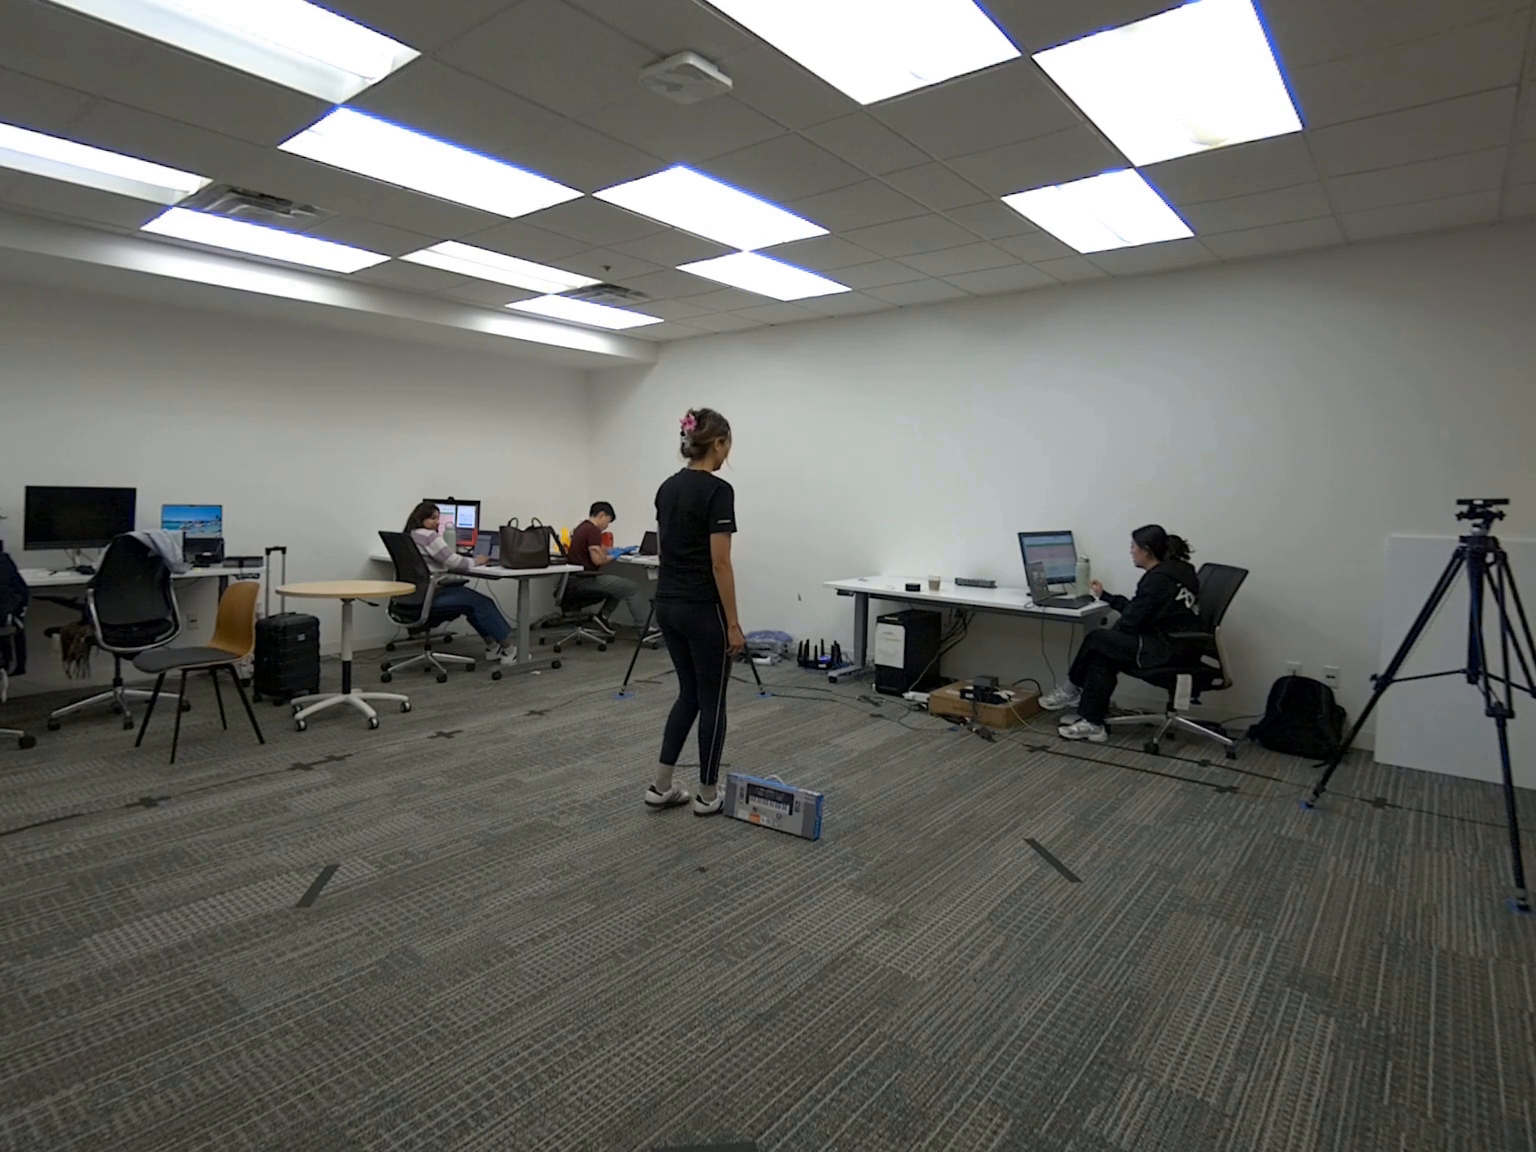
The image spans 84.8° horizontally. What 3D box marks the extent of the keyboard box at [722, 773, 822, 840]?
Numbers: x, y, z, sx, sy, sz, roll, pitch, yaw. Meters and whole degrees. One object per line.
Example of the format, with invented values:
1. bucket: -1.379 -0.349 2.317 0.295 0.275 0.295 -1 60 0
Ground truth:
1. keyboard box: 0.009 0.947 3.525 0.450 0.176 0.057 5 -3 33
